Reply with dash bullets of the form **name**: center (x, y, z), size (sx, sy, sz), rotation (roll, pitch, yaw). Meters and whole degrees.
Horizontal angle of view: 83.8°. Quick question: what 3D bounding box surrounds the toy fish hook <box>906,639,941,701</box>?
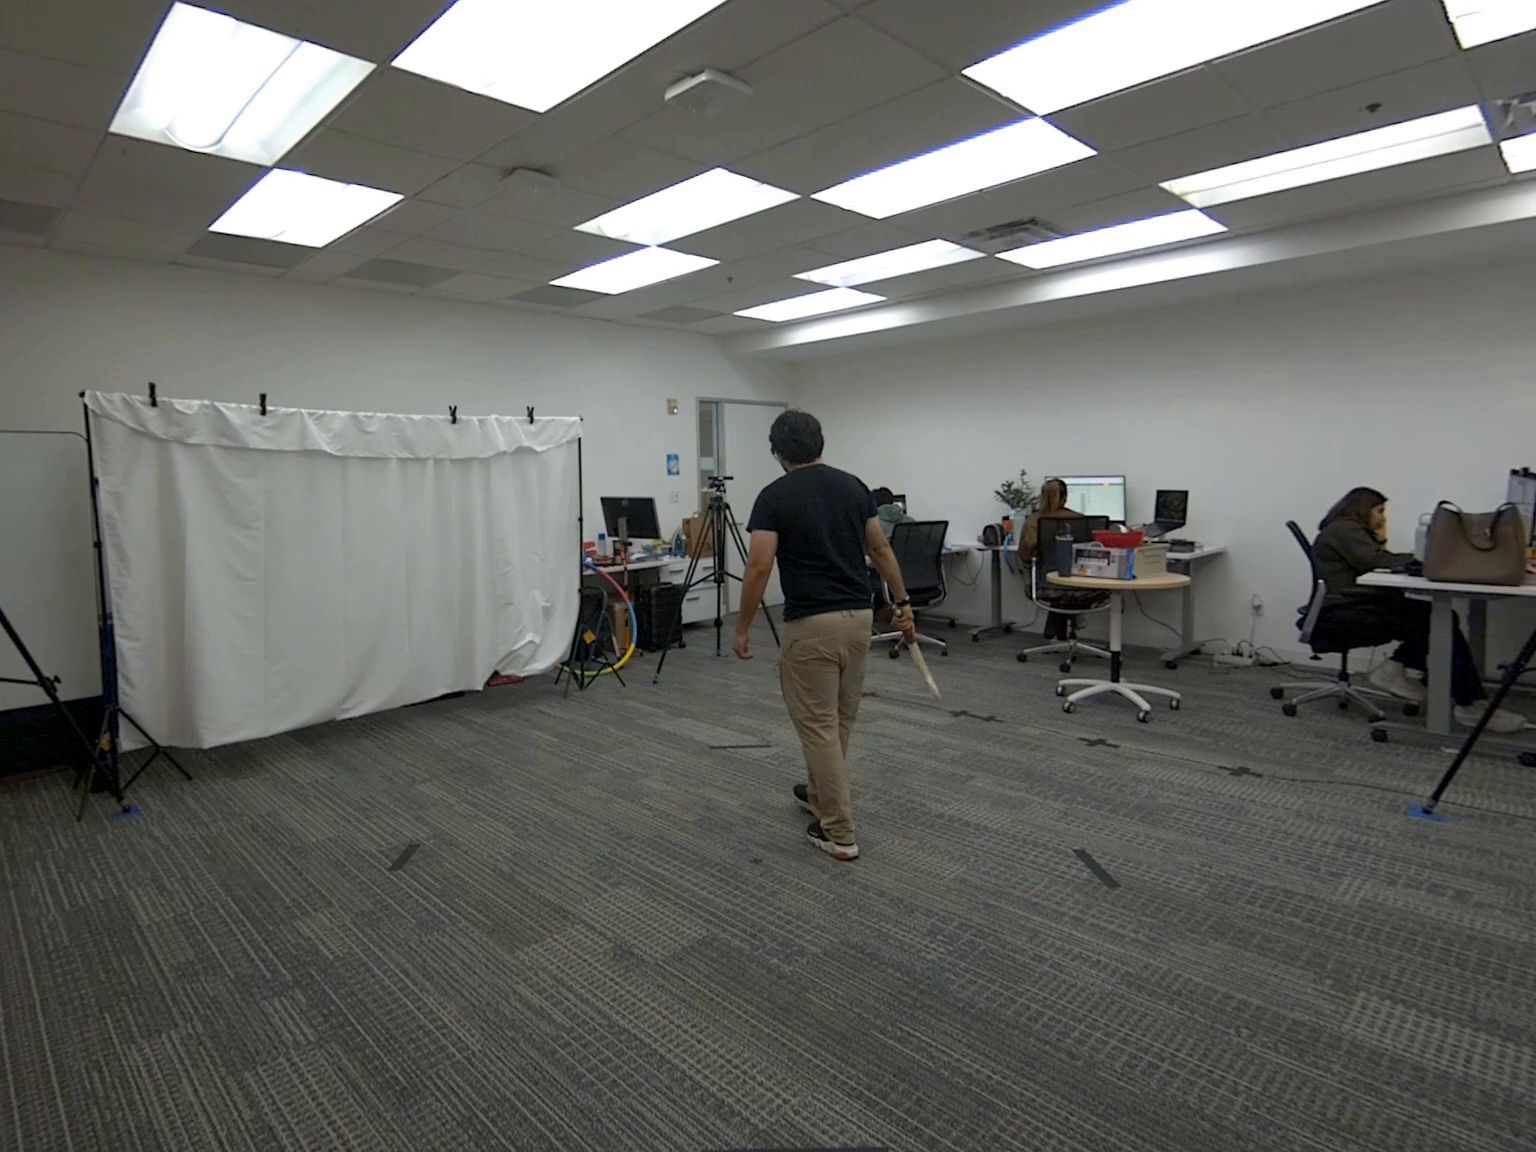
- **toy fish hook**: center (0.625, 0.332, 3.513), size (0.048, 0.489, 0.232), rotation (-29, 35, 3)
